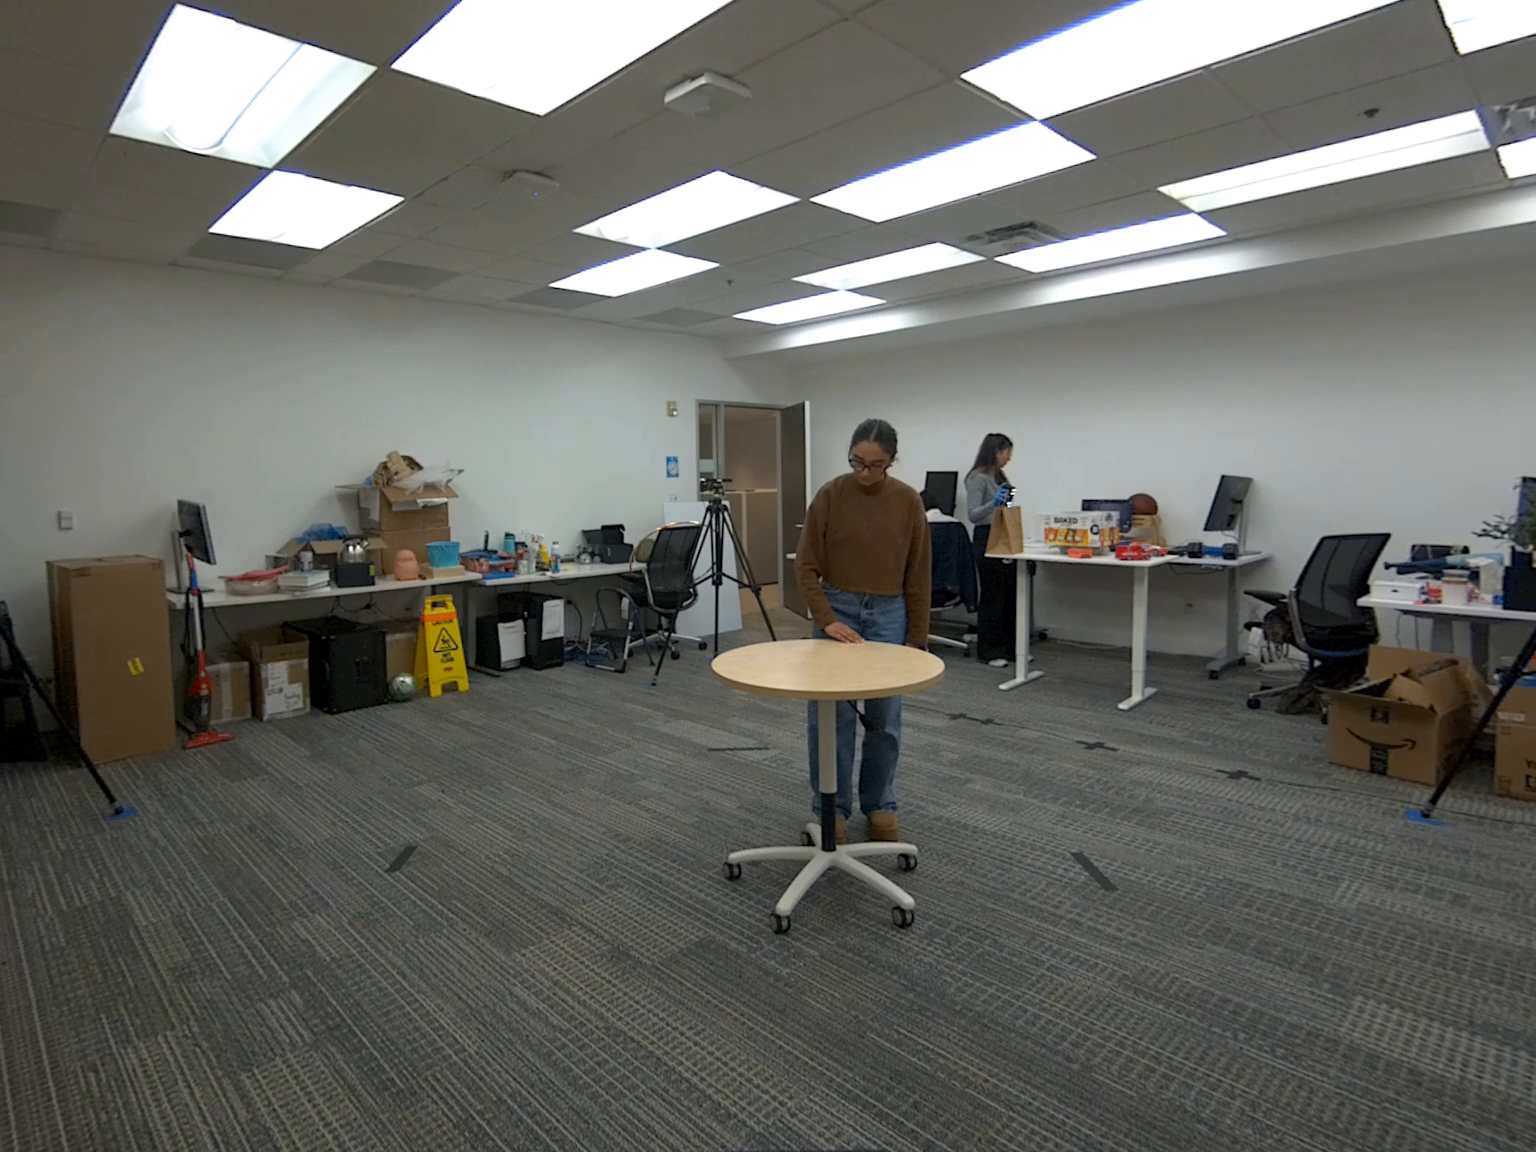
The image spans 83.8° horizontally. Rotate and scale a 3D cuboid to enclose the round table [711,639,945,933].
[{"bbox_3d":[0.205,0.681,2.872,0.763,0.791,0.768,-1,5,-2],"label":"round table"}]
